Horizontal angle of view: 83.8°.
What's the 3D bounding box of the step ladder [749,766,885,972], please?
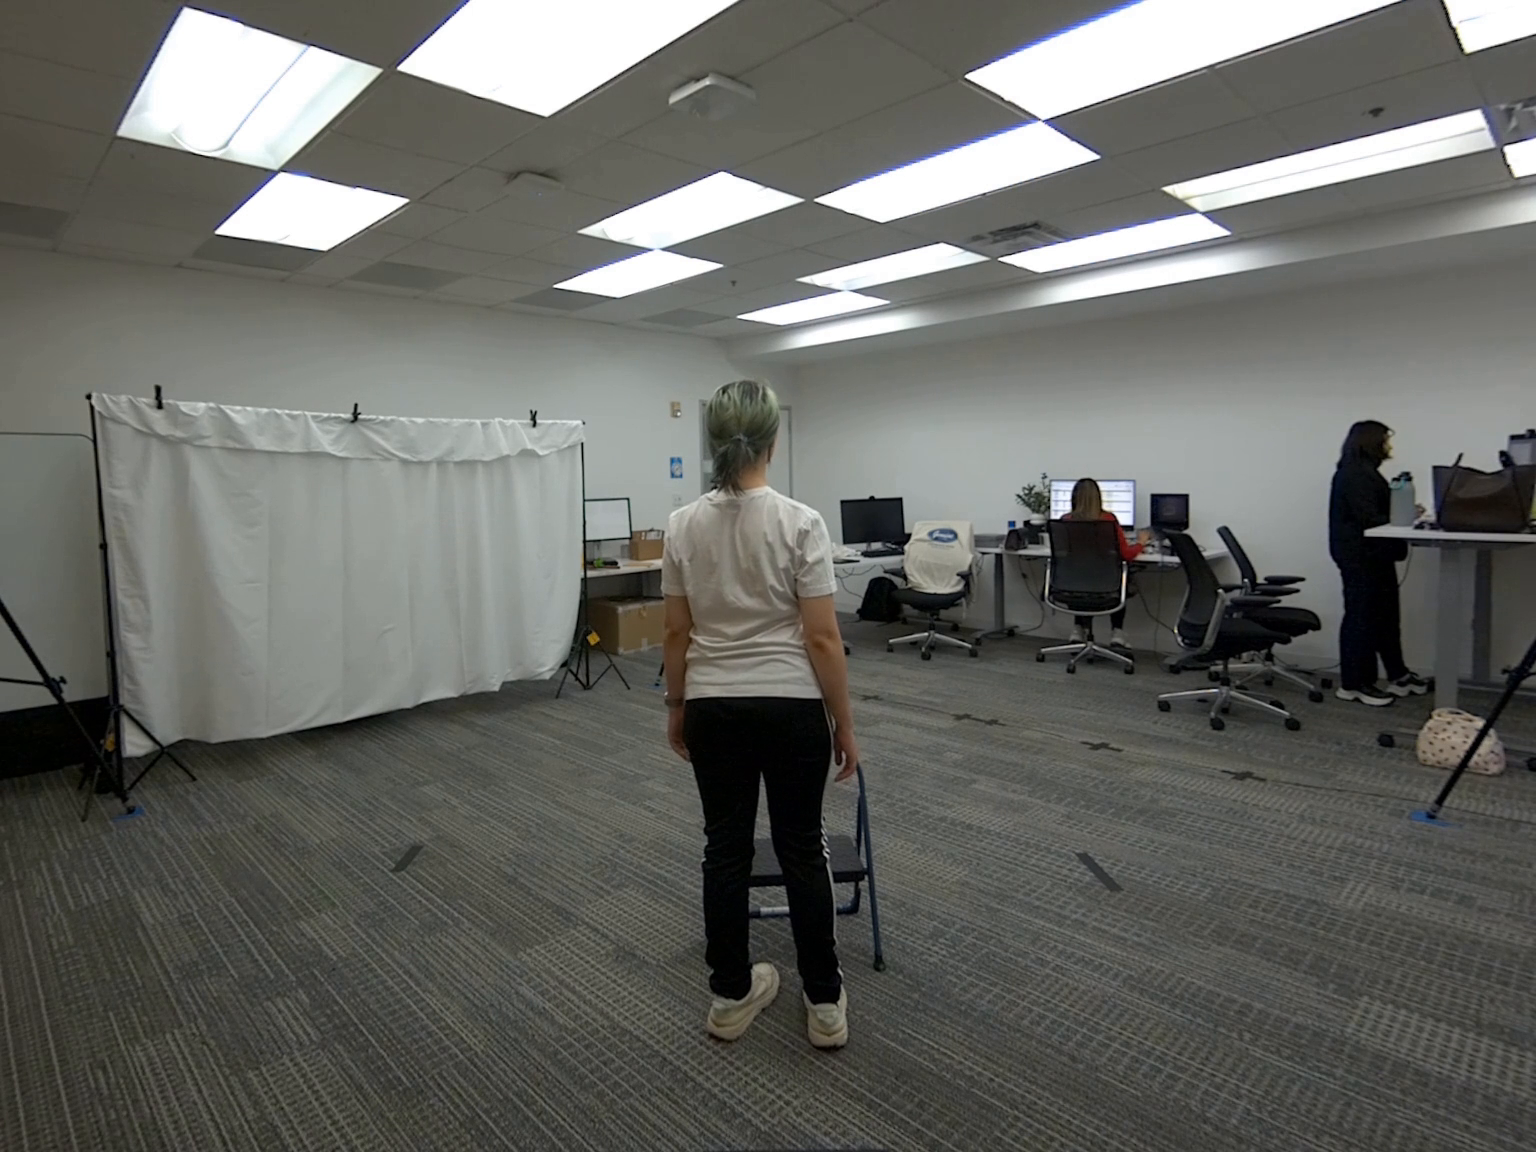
[{"bbox_3d":[0.109,0.812,2.566,0.429,0.604,0.352,-3,4,-4],"label":"step ladder"}]
